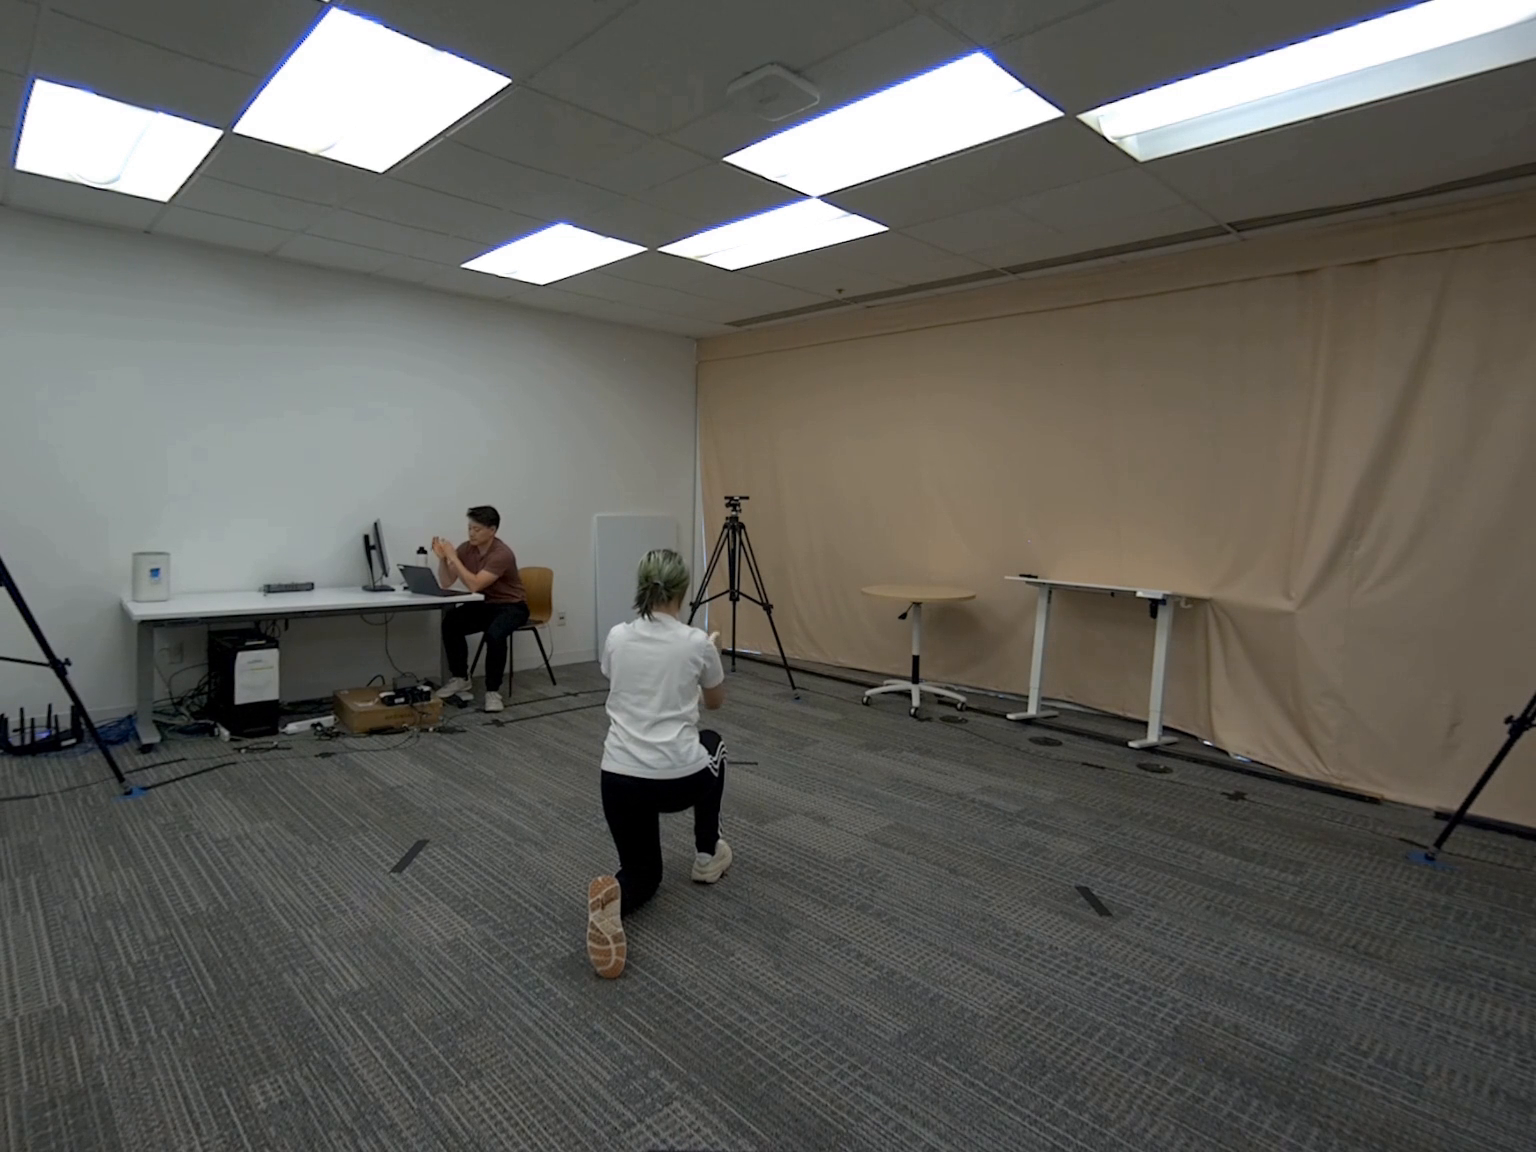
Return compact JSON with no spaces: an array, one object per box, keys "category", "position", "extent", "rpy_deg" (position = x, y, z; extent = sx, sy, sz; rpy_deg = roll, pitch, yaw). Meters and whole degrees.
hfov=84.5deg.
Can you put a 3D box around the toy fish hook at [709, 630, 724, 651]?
[{"category":"toy fish hook","position":[-0.283,0.440,3.553],"extent":[0.049,0.220,0.511],"rpy_deg":[8,37,13]}]
